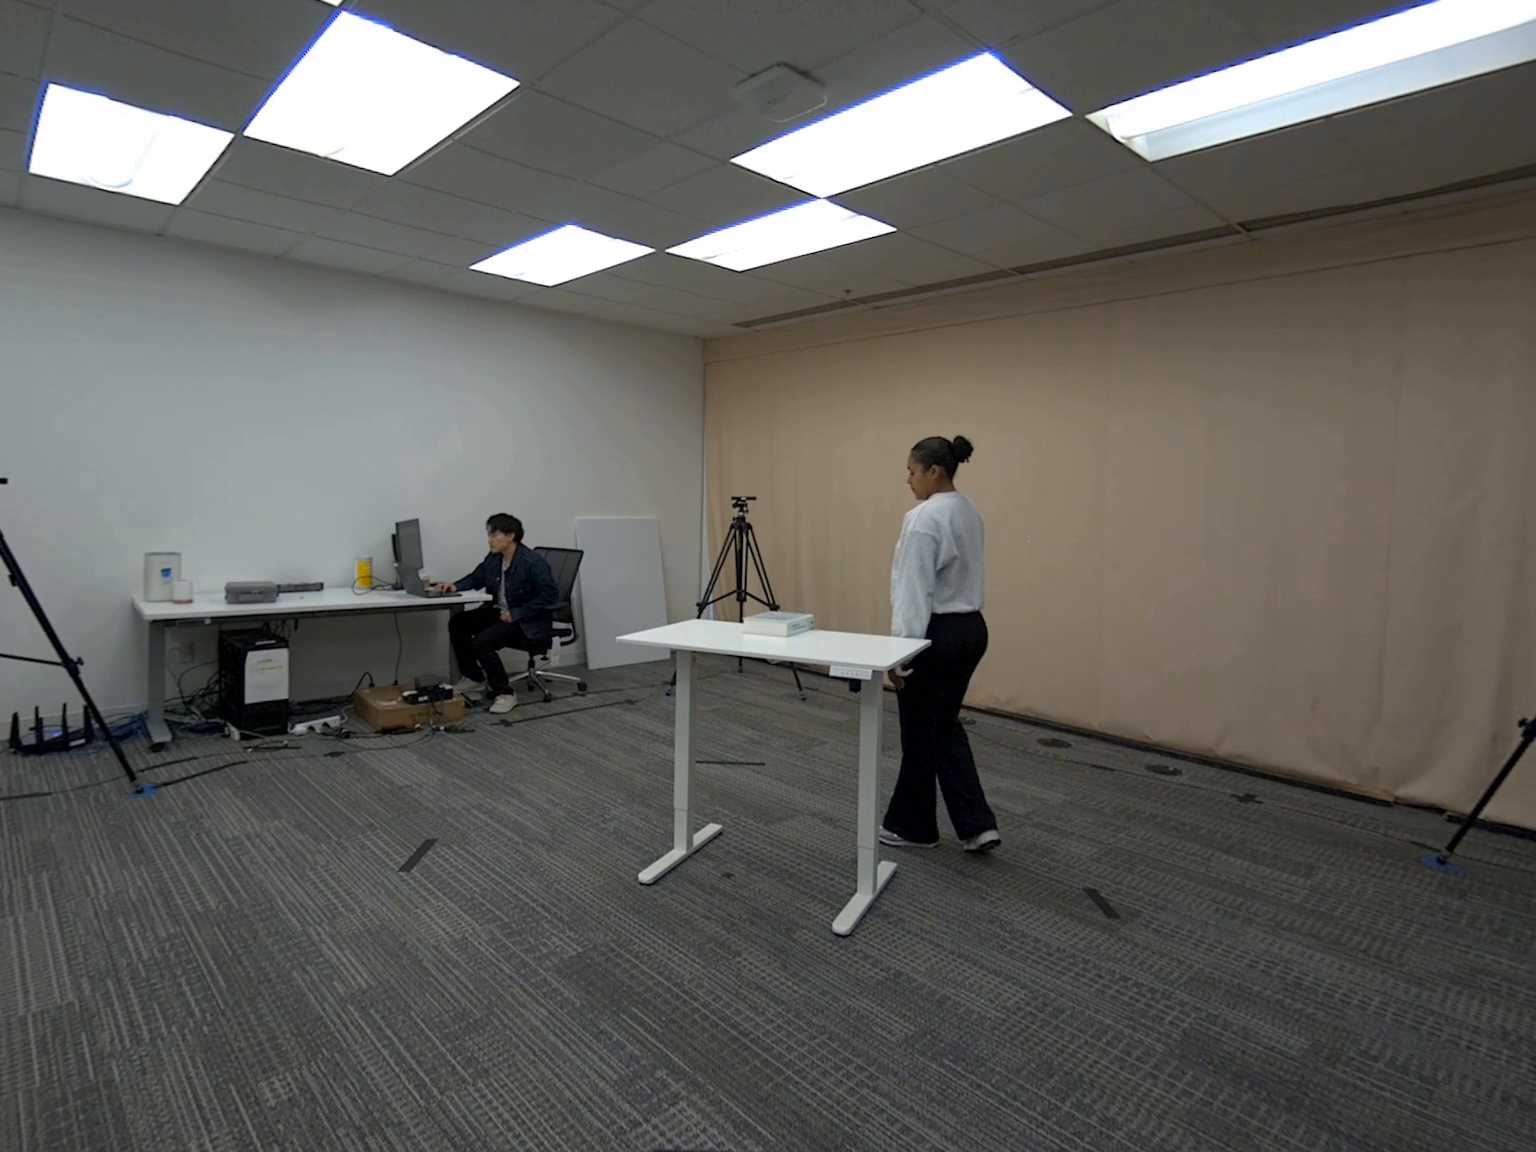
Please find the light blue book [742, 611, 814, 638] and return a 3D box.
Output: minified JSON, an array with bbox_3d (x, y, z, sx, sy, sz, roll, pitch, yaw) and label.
[{"bbox_3d":[0.026,0.186,3.273,0.195,0.059,0.256,3,5,26],"label":"light blue book"}]
